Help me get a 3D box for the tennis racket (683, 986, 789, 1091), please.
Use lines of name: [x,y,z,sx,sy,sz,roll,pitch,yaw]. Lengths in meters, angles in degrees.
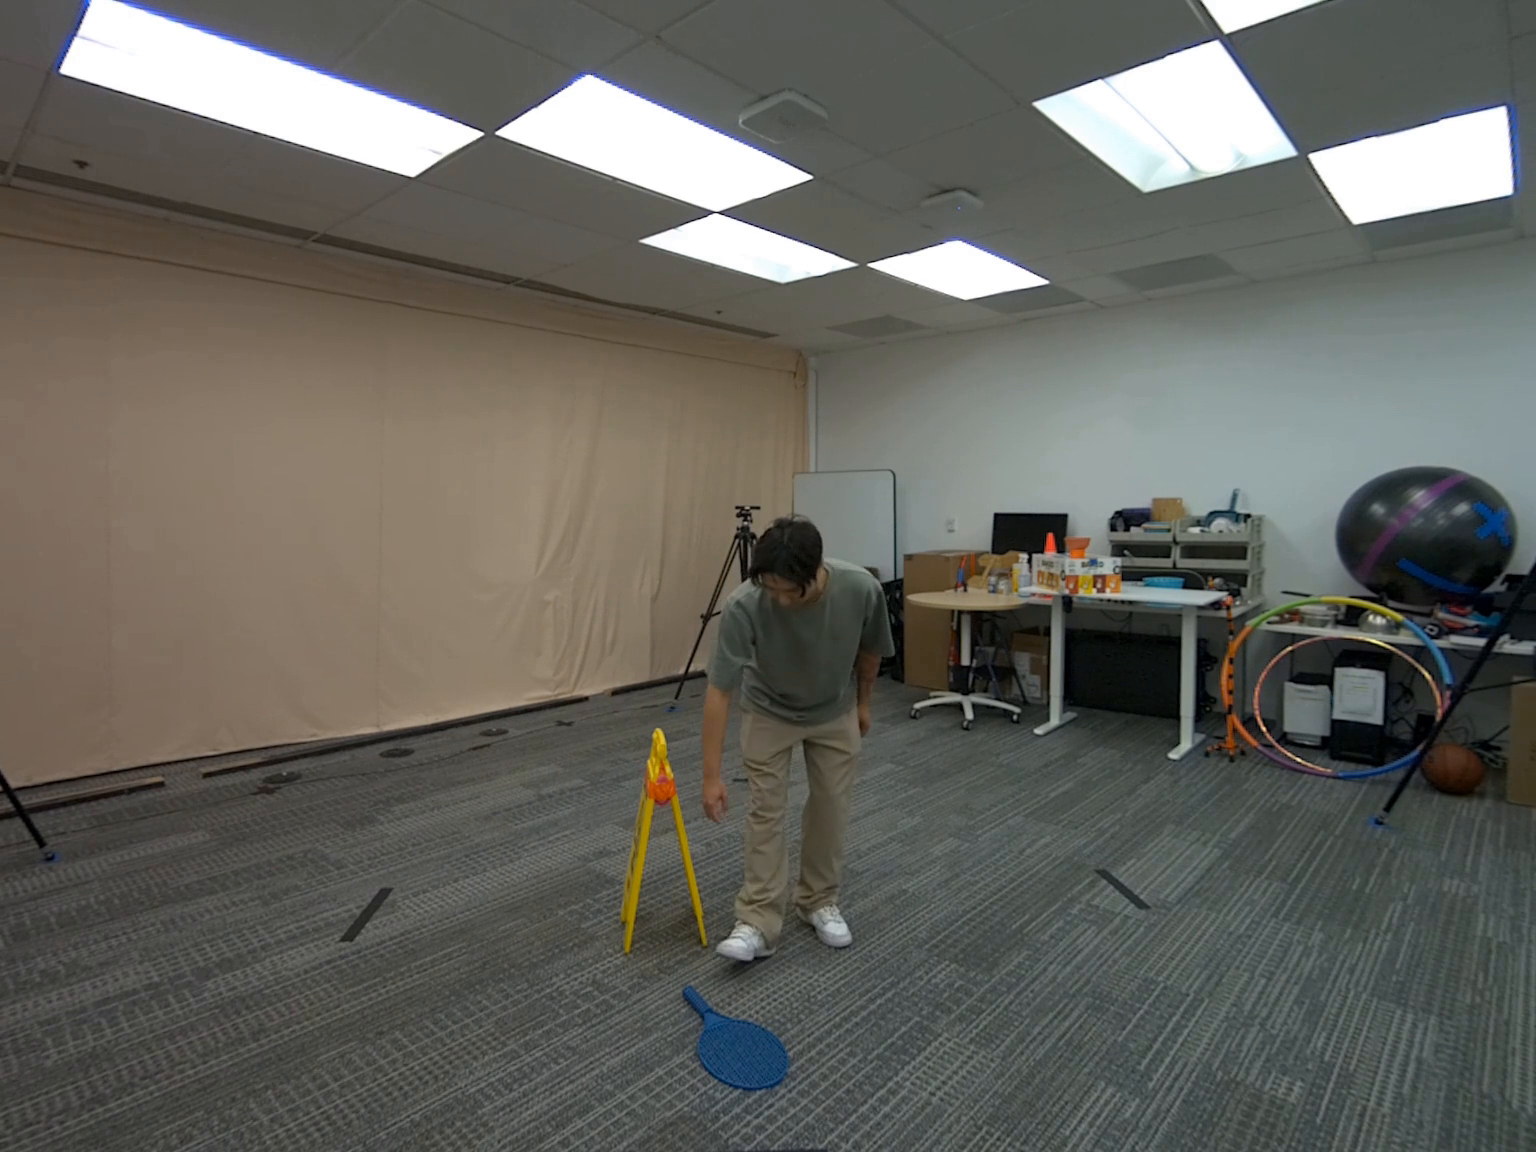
tennis racket: [-0.109,1.198,2.202,0.208,0.031,0.447,-5,8,-33]
